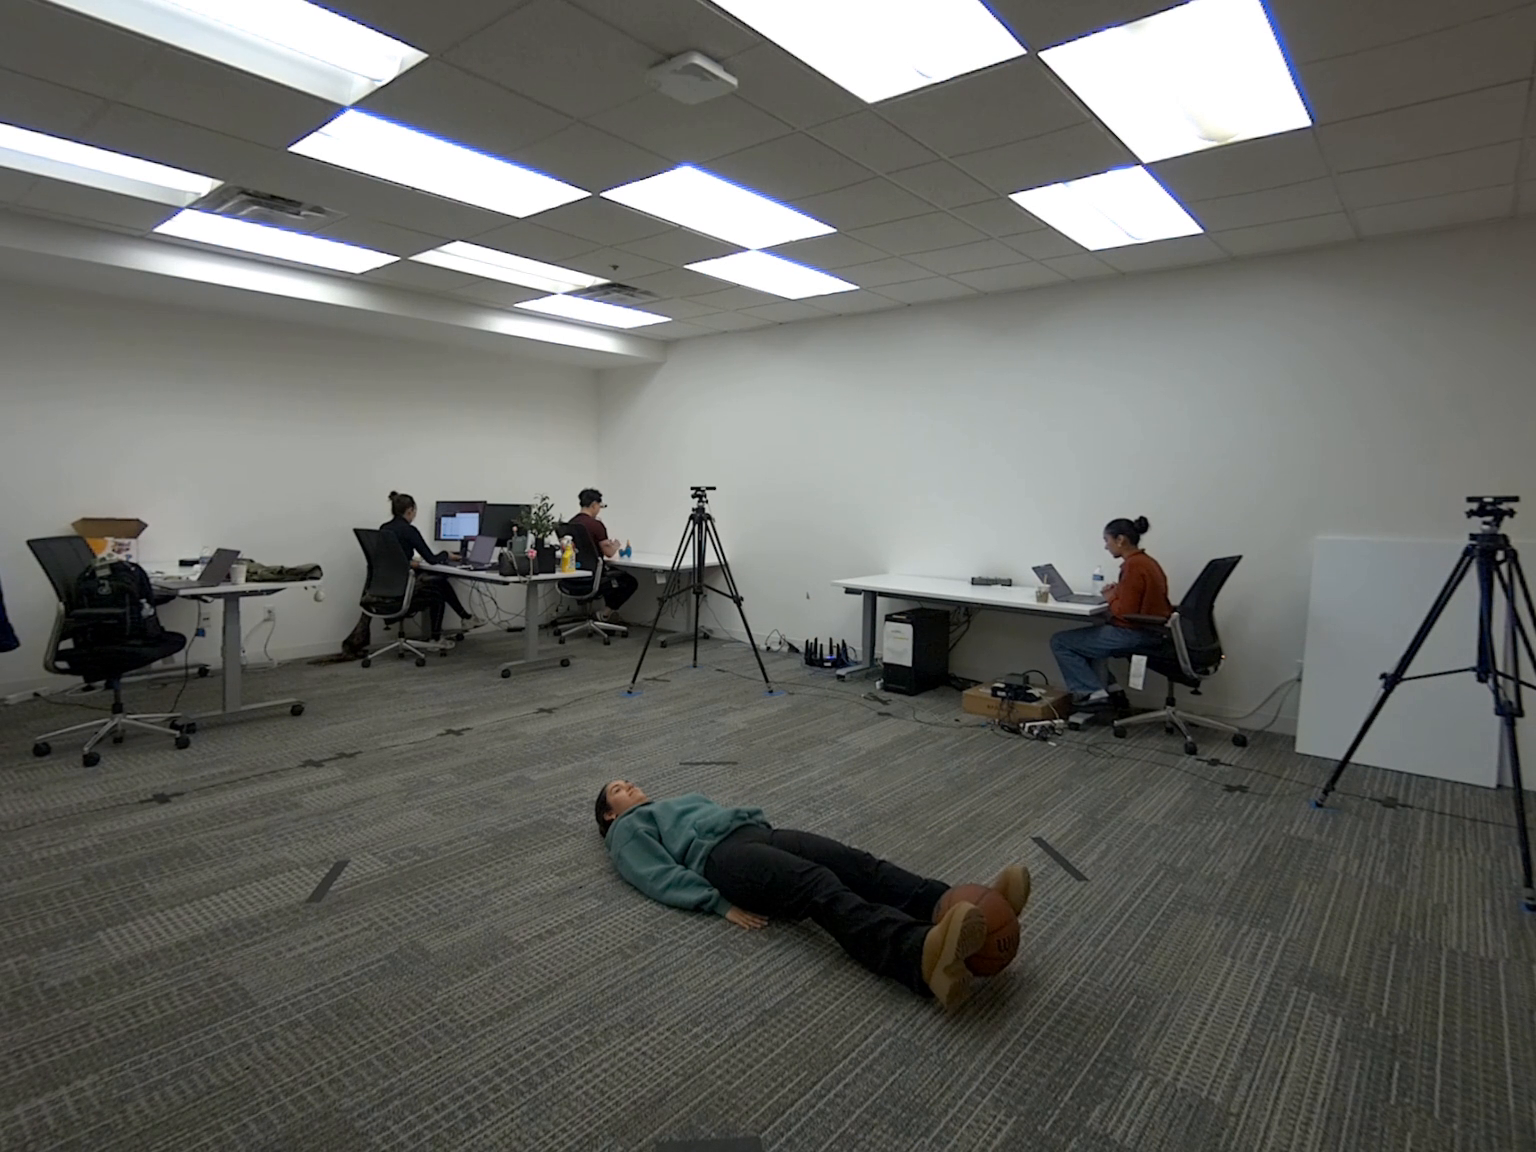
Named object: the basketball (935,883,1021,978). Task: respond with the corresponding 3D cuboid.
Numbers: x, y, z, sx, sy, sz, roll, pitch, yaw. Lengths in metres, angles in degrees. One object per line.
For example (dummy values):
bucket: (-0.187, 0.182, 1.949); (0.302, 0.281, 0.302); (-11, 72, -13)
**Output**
basketball: (0.578, 0.981, 2.376); (0.236, 0.235, 0.237); (0, 4, -2)
